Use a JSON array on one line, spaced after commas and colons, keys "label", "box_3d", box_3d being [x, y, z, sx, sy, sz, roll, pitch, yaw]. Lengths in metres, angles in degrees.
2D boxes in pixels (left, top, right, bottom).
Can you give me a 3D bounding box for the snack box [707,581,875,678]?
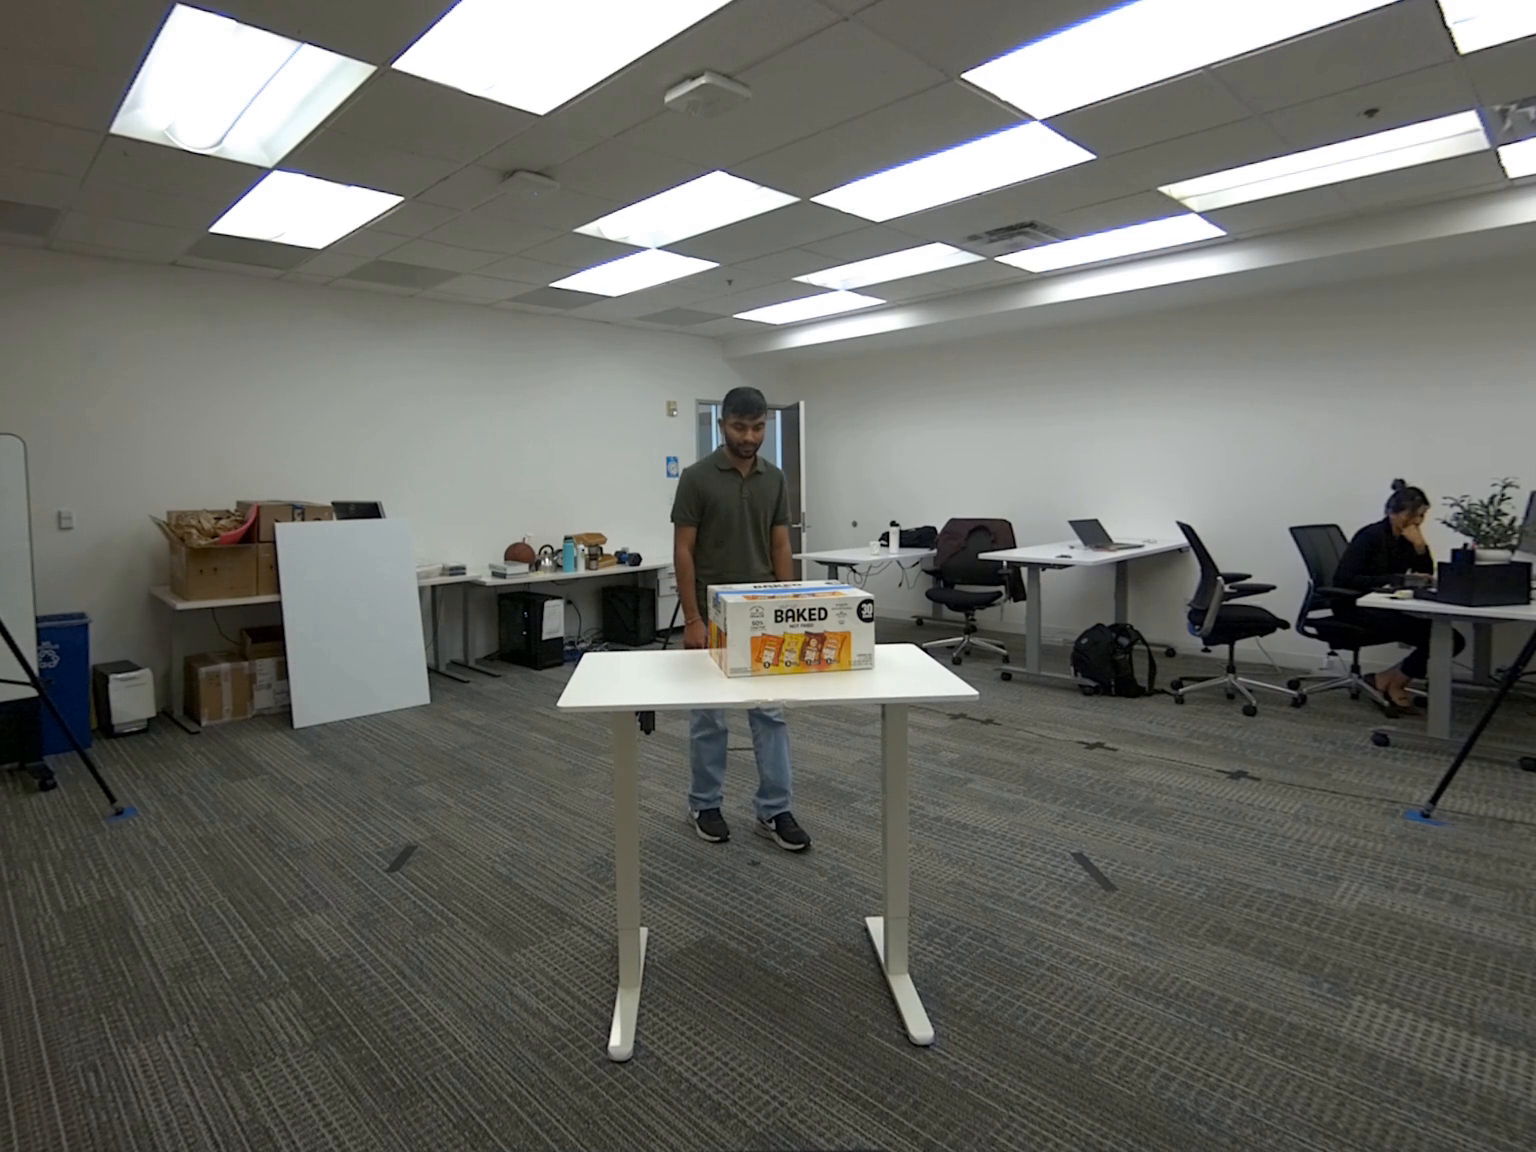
[{"label": "snack box", "box_3d": [0.055, 0.141, 2.423, 0.401, 0.205, 0.345, -2, 6, -11]}]
